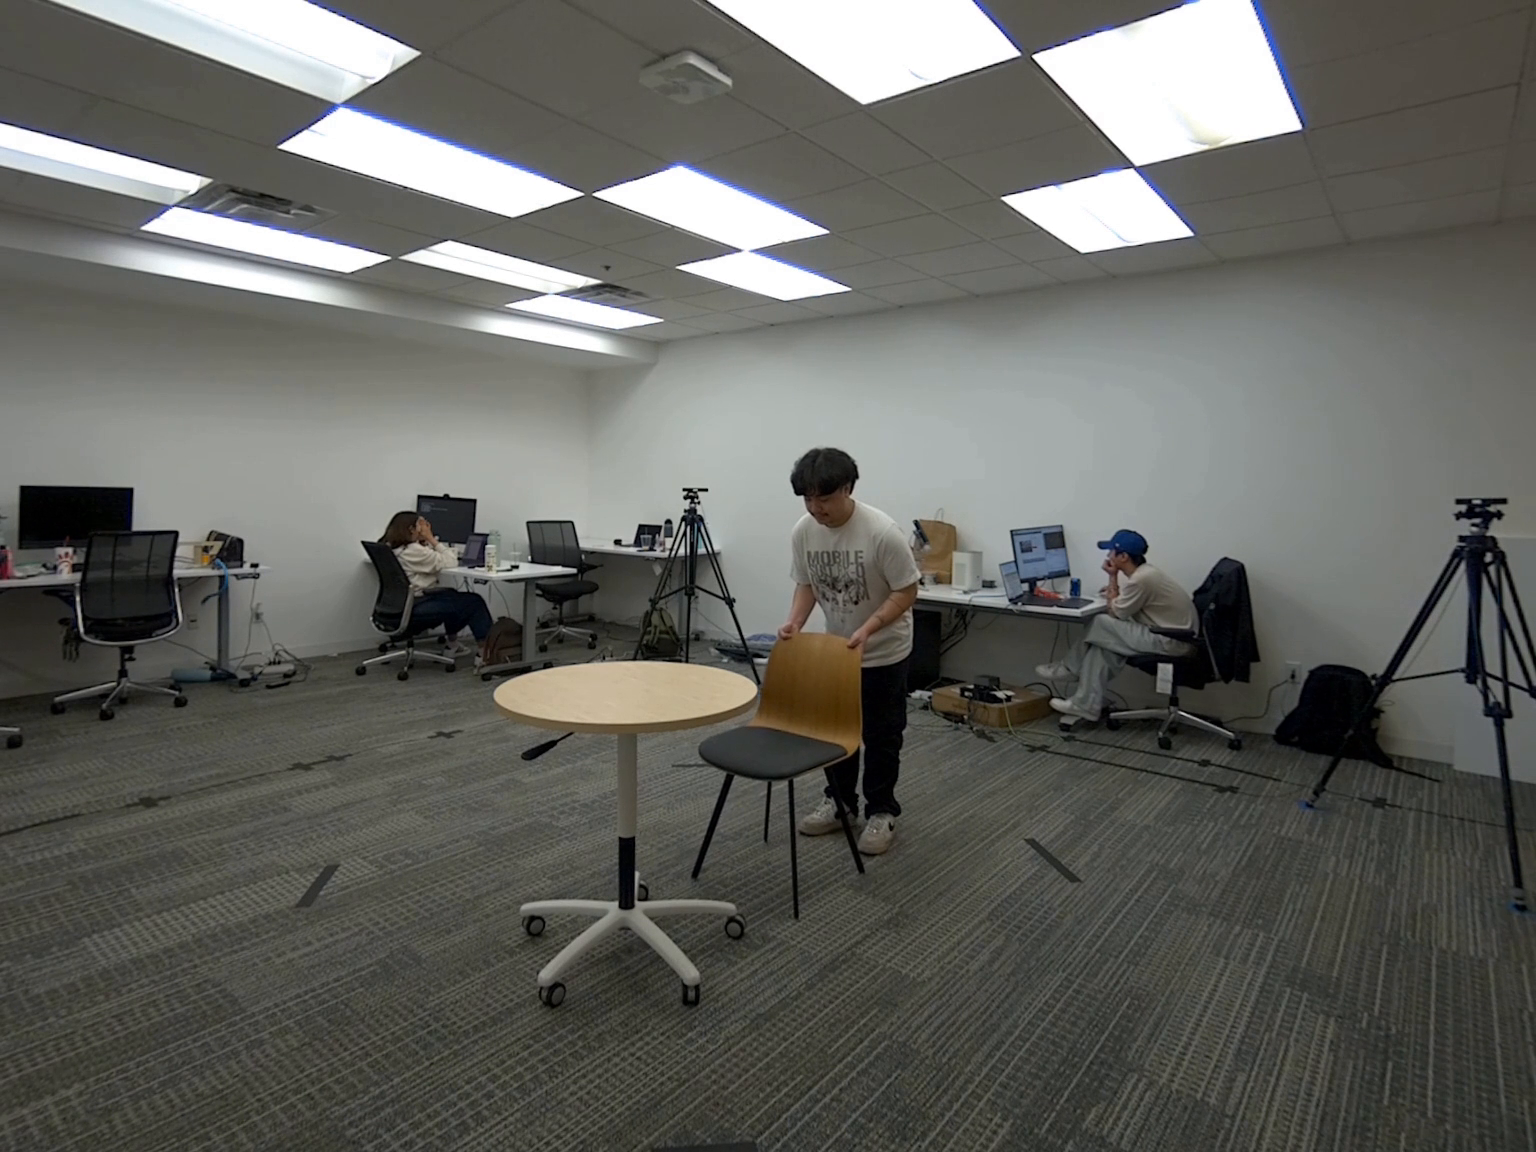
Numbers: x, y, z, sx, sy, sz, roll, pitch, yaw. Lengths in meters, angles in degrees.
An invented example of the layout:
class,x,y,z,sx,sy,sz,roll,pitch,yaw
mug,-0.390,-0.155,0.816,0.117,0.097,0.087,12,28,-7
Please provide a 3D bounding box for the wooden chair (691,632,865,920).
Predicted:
class,x,y,z,sx,sy,sz,roll,pitch,yaw
wooden chair,0.036,0.652,3.039,0.494,0.877,0.506,4,0,37
